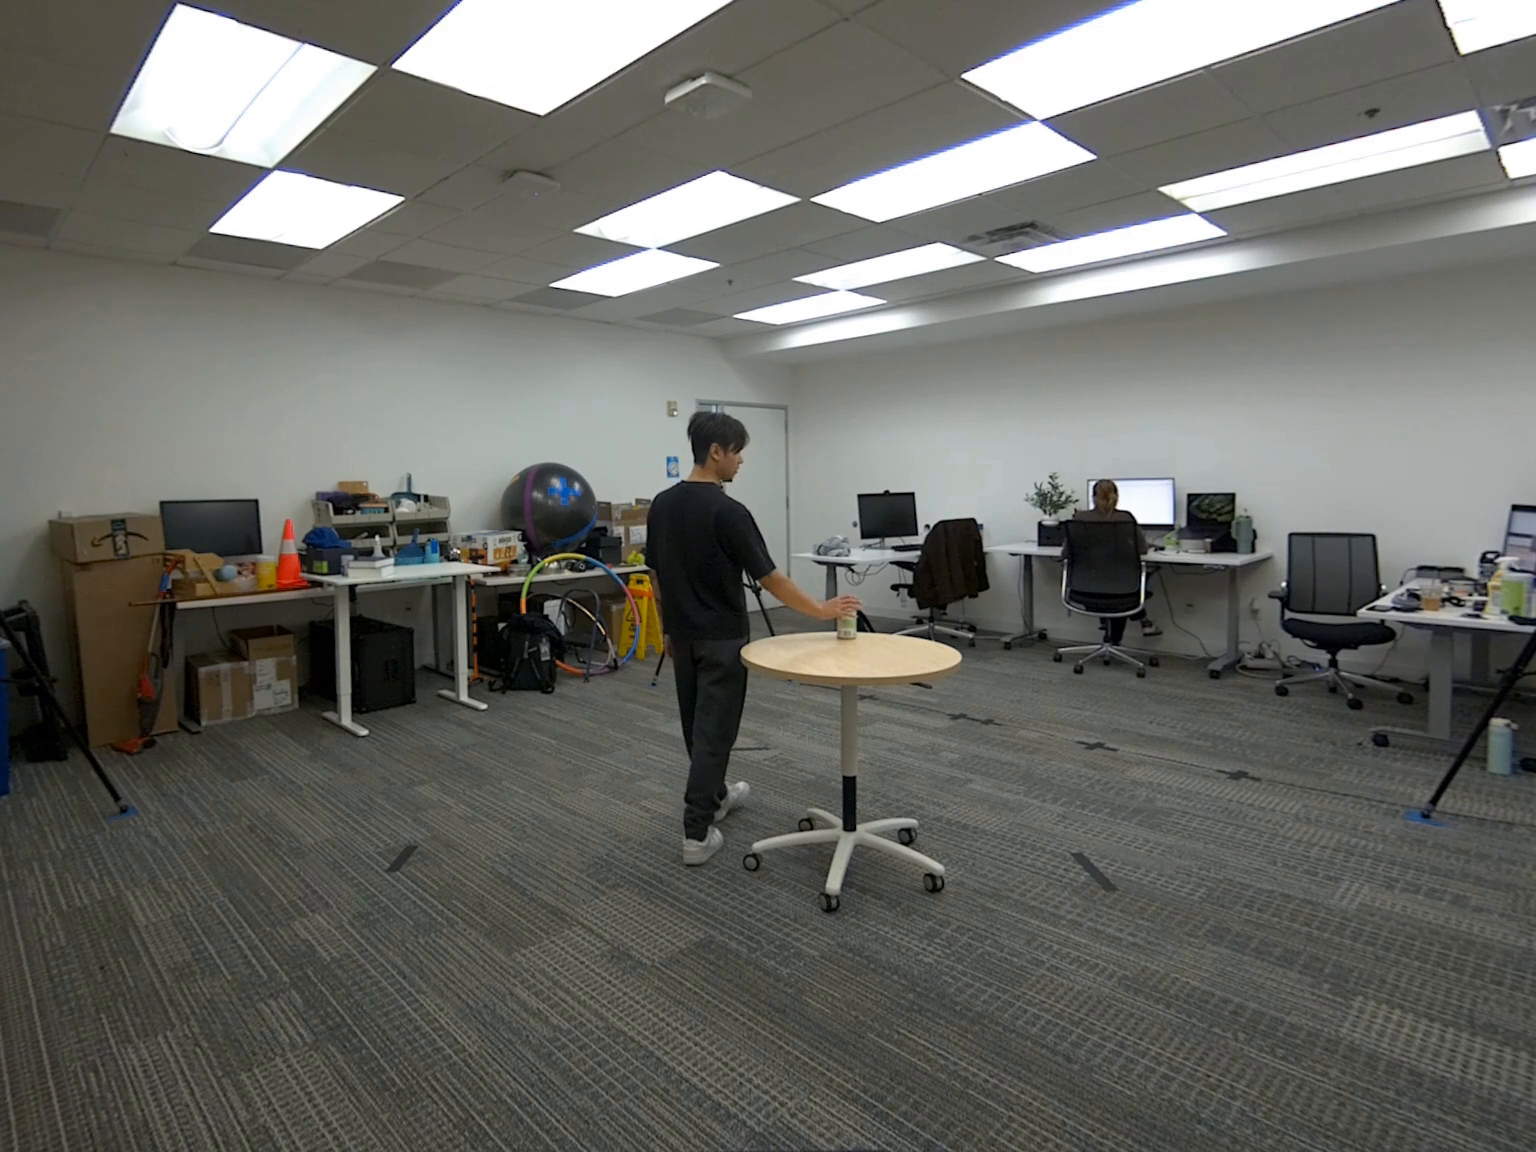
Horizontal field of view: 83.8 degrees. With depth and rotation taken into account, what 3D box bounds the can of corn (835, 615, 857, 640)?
[{"bbox_3d":[0.294,0.180,3.261,0.074,0.111,0.074,1,0,-2],"label":"can of corn"}]
